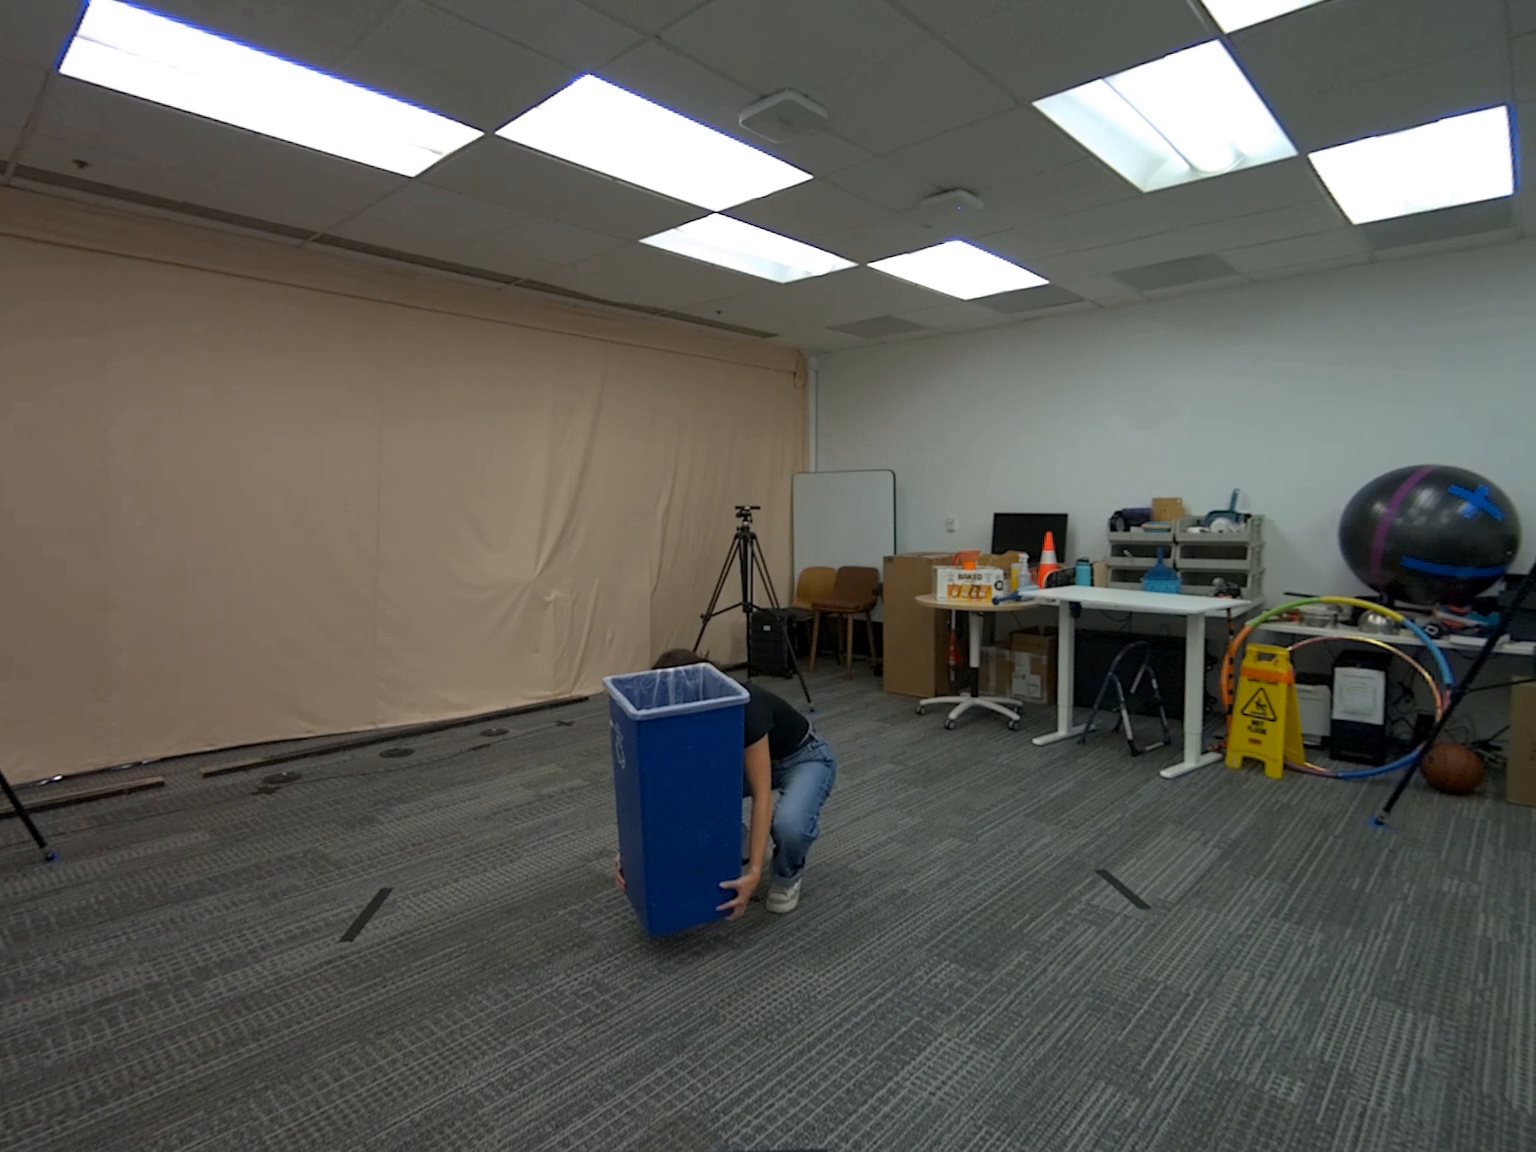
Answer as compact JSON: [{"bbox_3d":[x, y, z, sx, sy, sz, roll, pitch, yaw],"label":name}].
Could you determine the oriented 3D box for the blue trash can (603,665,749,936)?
[{"bbox_3d":[-0.287,0.682,2.628,0.370,0.709,0.384,-5,10,-23],"label":"blue trash can"}]
